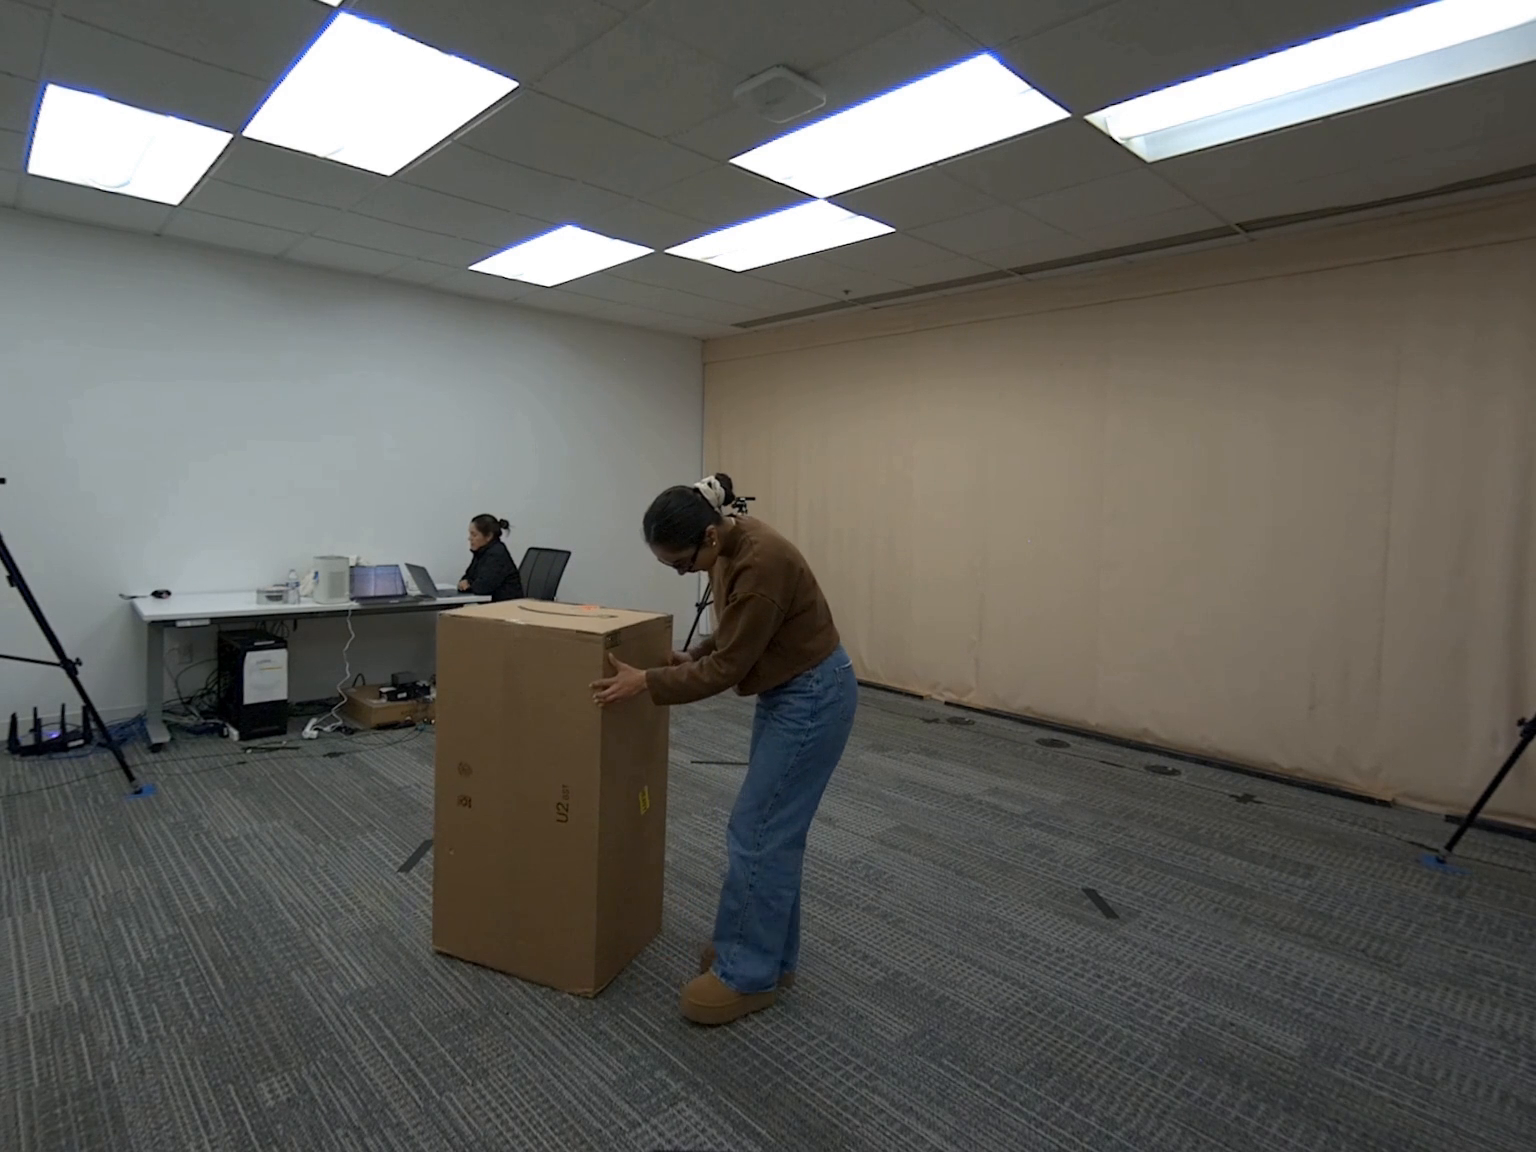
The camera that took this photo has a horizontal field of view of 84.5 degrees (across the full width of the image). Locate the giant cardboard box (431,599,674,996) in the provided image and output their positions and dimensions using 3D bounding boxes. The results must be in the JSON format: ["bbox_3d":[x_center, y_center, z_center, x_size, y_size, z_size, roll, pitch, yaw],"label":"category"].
[{"bbox_3d":[-0.658,0.630,2.597,0.588,1.023,0.419,3,3,22],"label":"giant cardboard box"}]
